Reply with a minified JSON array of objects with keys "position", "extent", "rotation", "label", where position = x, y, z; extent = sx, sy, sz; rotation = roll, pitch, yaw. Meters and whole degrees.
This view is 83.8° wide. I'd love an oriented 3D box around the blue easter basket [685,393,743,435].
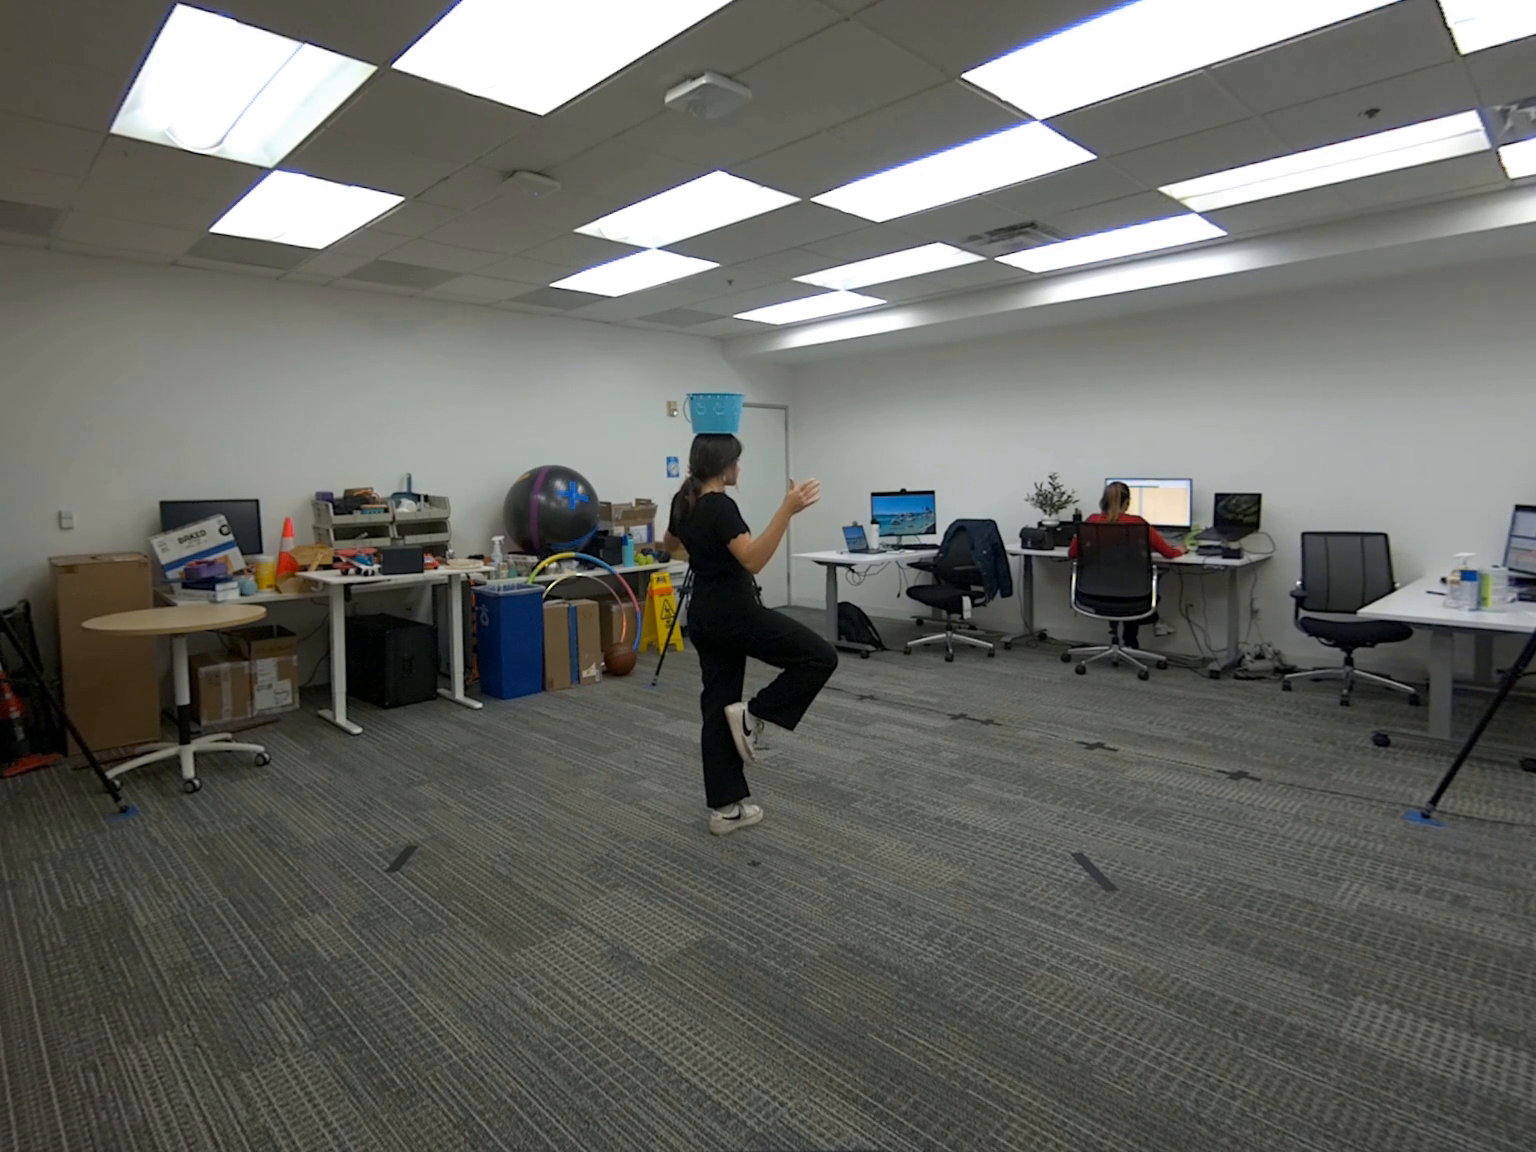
[{"position":[-0.213,-0.636,3.347],"extent":[0.243,0.155,0.245],"rotation":[-1,7,-2],"label":"blue easter basket"}]
